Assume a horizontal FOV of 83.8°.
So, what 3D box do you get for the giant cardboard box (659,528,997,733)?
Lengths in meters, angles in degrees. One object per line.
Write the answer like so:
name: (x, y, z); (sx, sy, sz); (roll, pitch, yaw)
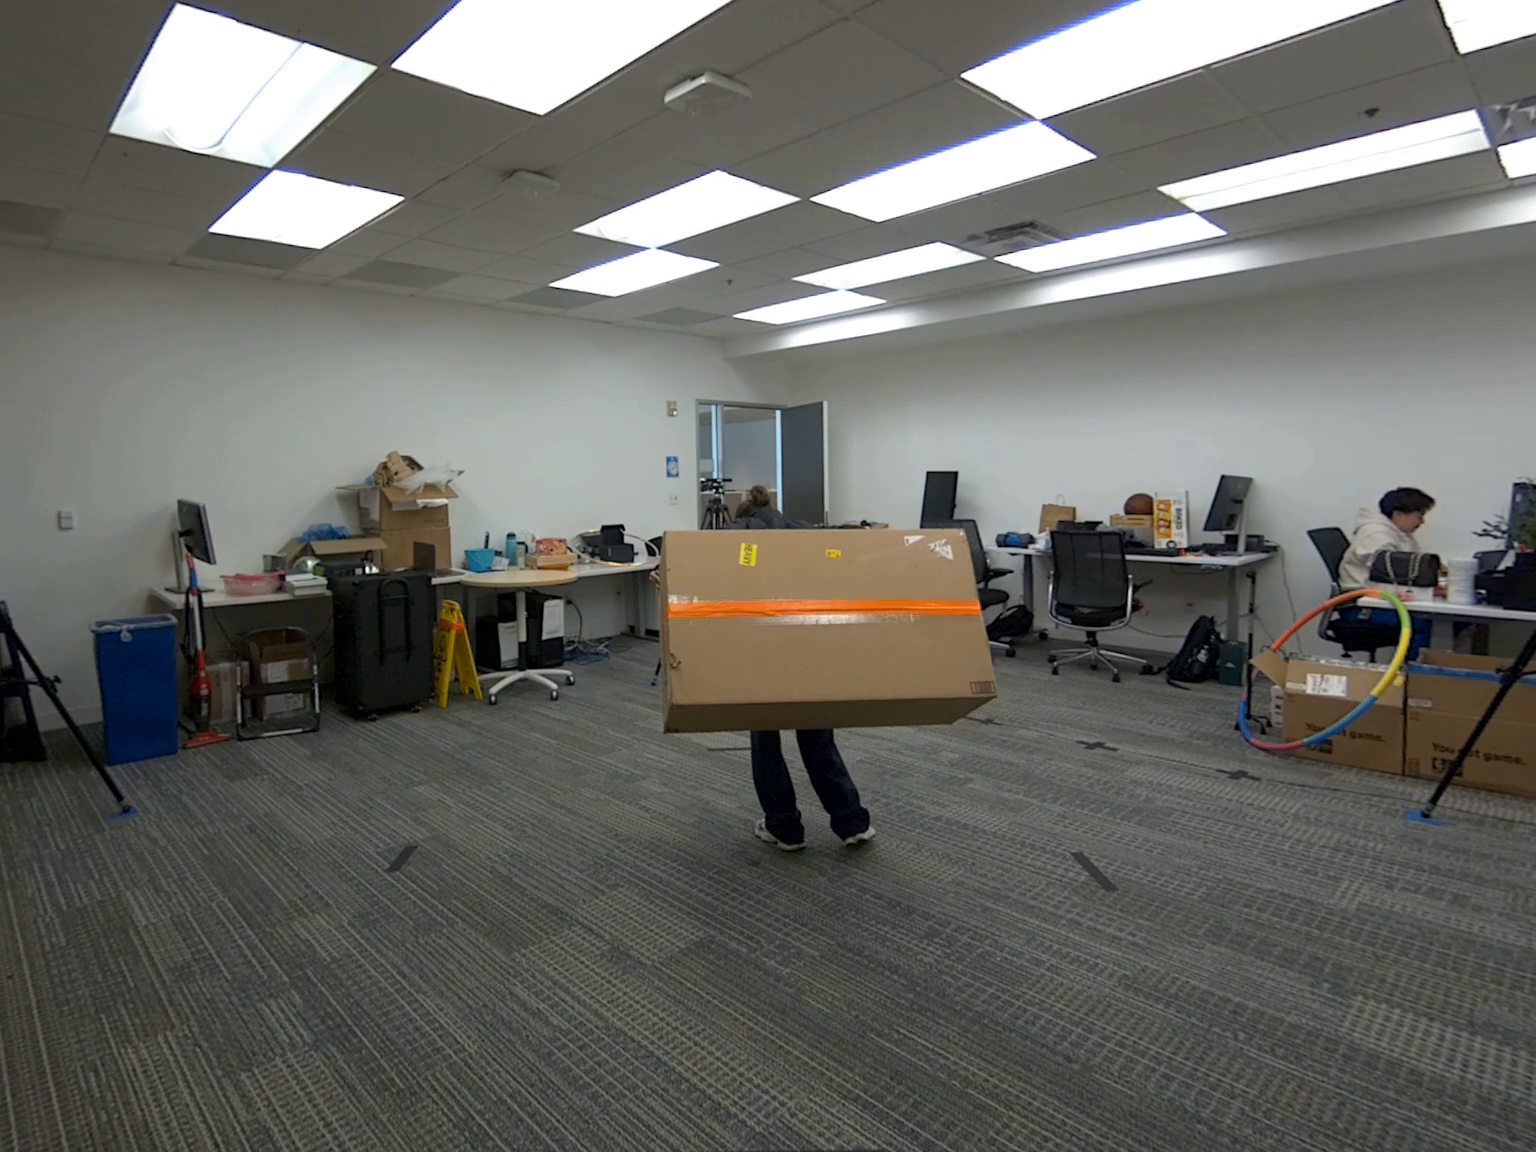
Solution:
giant cardboard box: (0.156, 0.186, 2.898); (1.017, 0.591, 0.420); (0, -25, -9)
